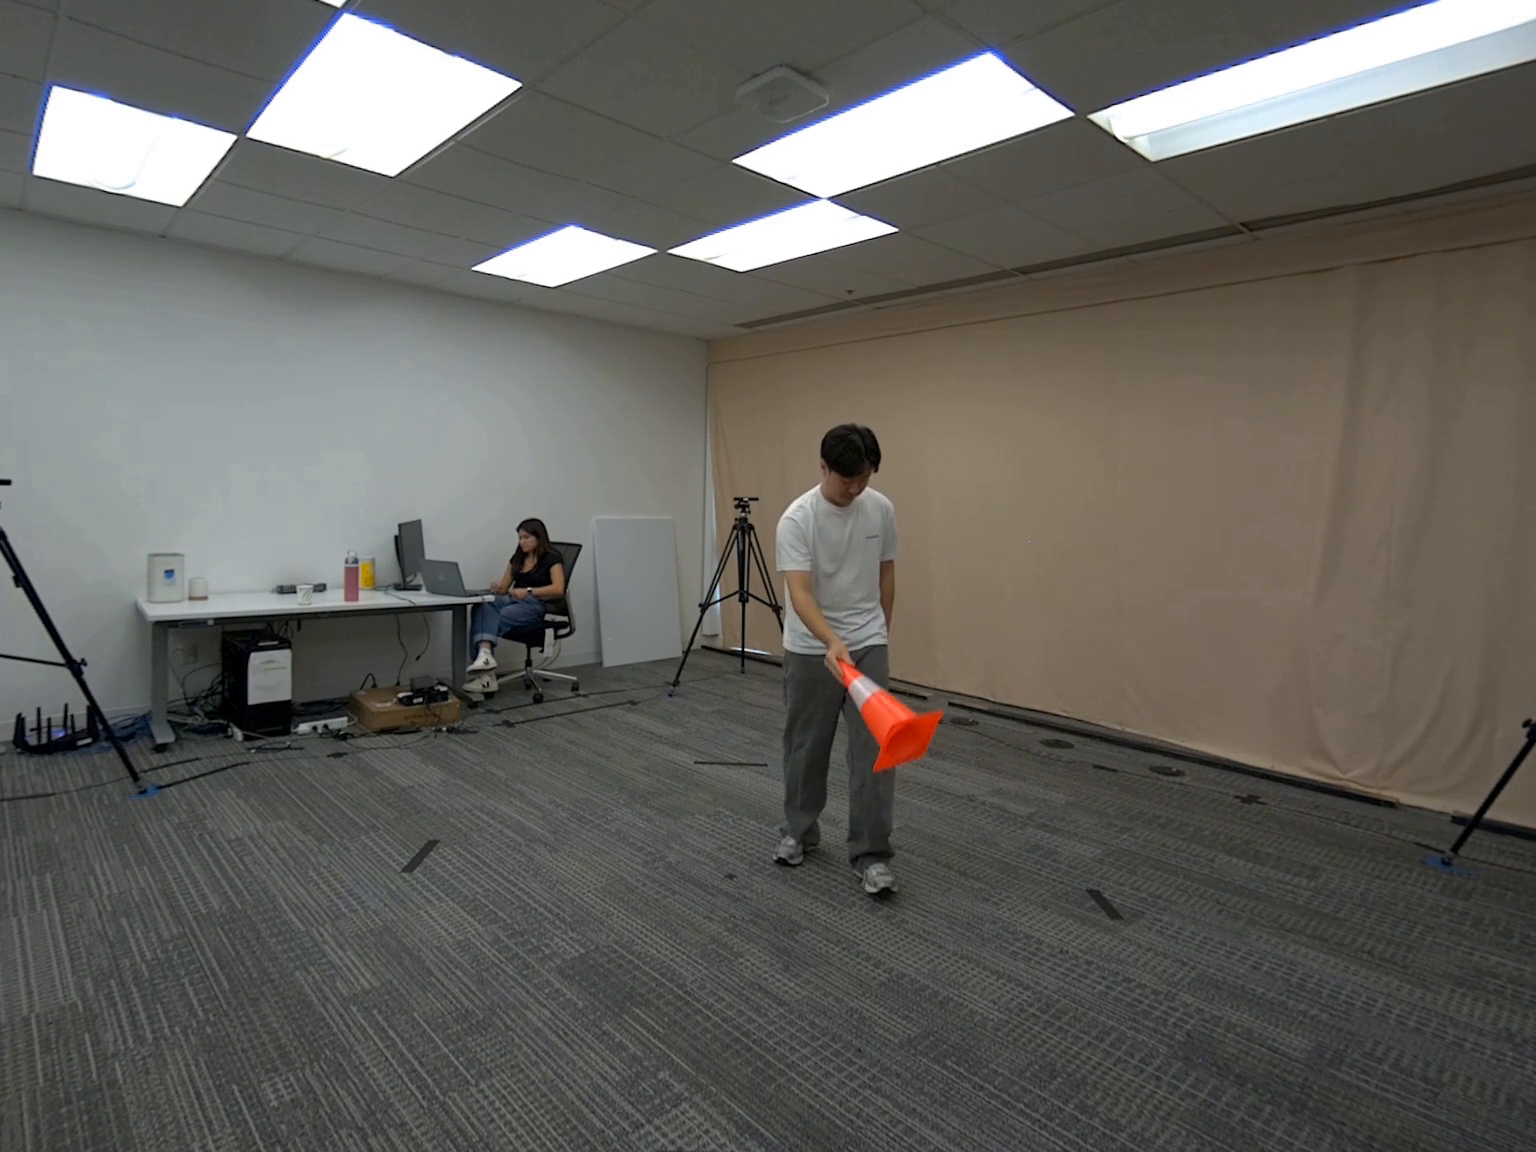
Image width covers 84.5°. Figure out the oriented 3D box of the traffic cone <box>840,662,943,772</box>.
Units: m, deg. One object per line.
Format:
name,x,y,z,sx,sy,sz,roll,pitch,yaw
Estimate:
traffic cone,0.305,0.381,2.619,0.201,0.200,0.396,-6,35,-31
